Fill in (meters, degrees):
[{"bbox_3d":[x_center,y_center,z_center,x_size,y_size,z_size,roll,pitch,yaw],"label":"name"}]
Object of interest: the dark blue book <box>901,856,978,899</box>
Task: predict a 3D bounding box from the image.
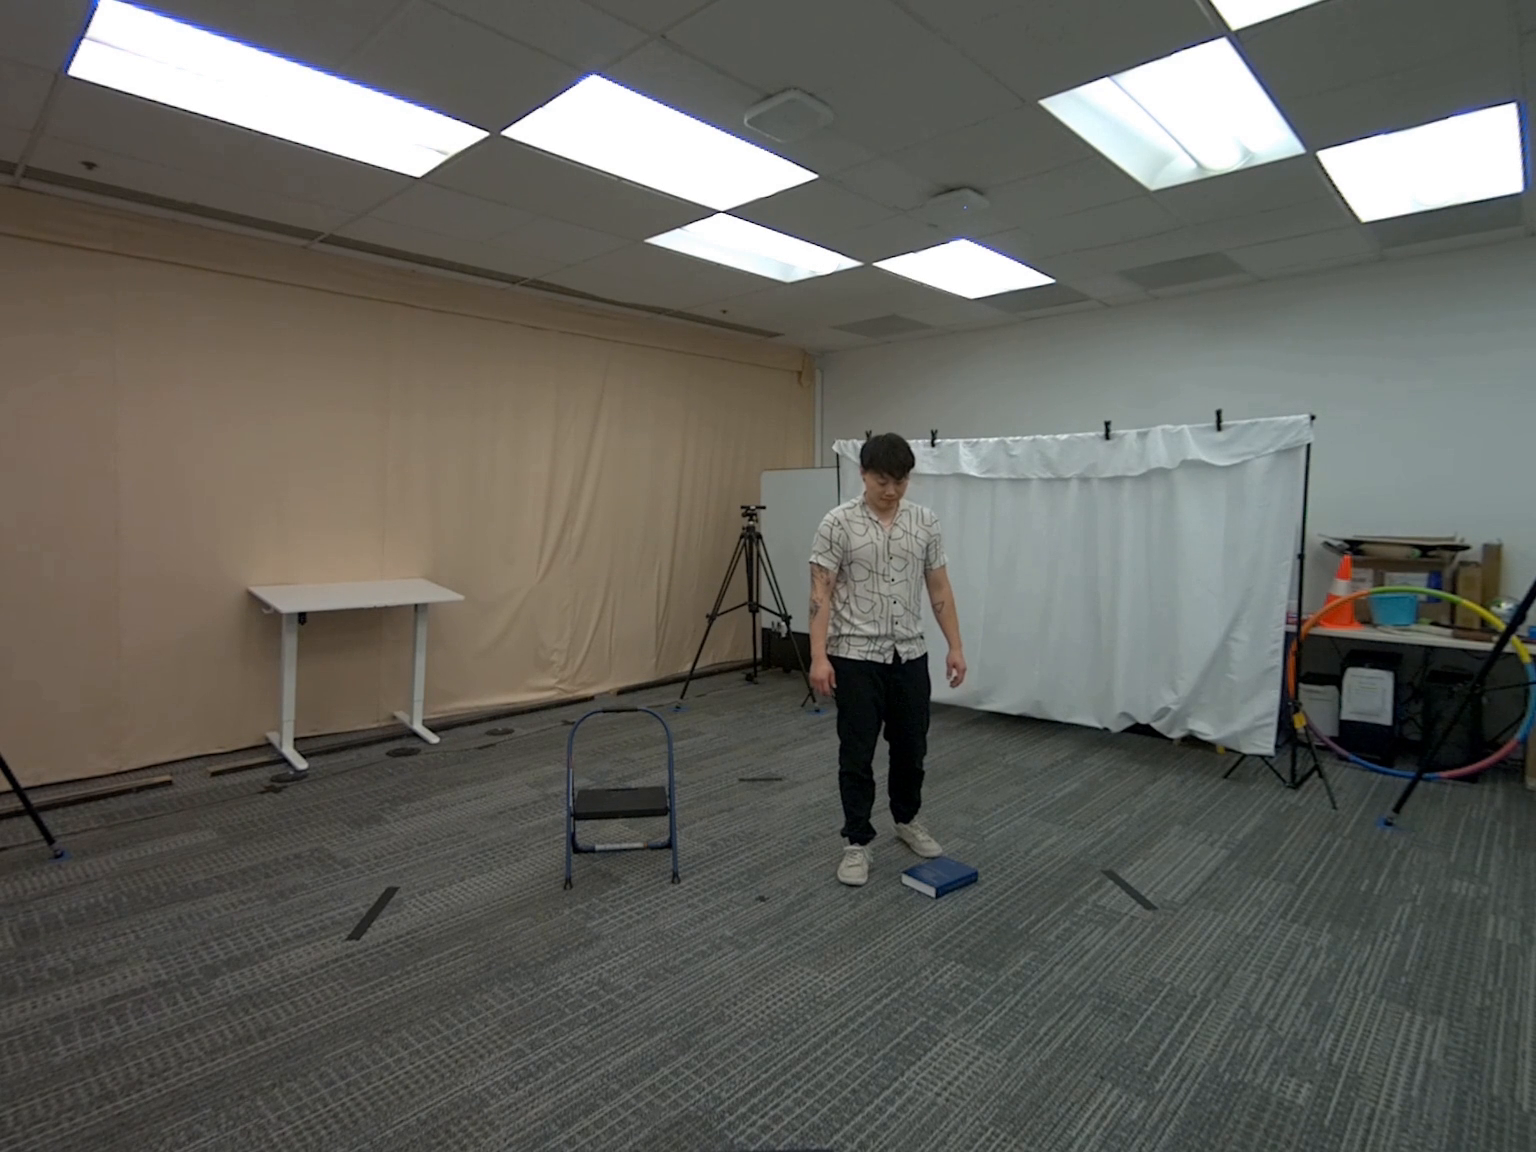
[{"bbox_3d":[0.637,1.112,3.102,0.238,0.045,0.169,-4,6,-38],"label":"dark blue book"}]
